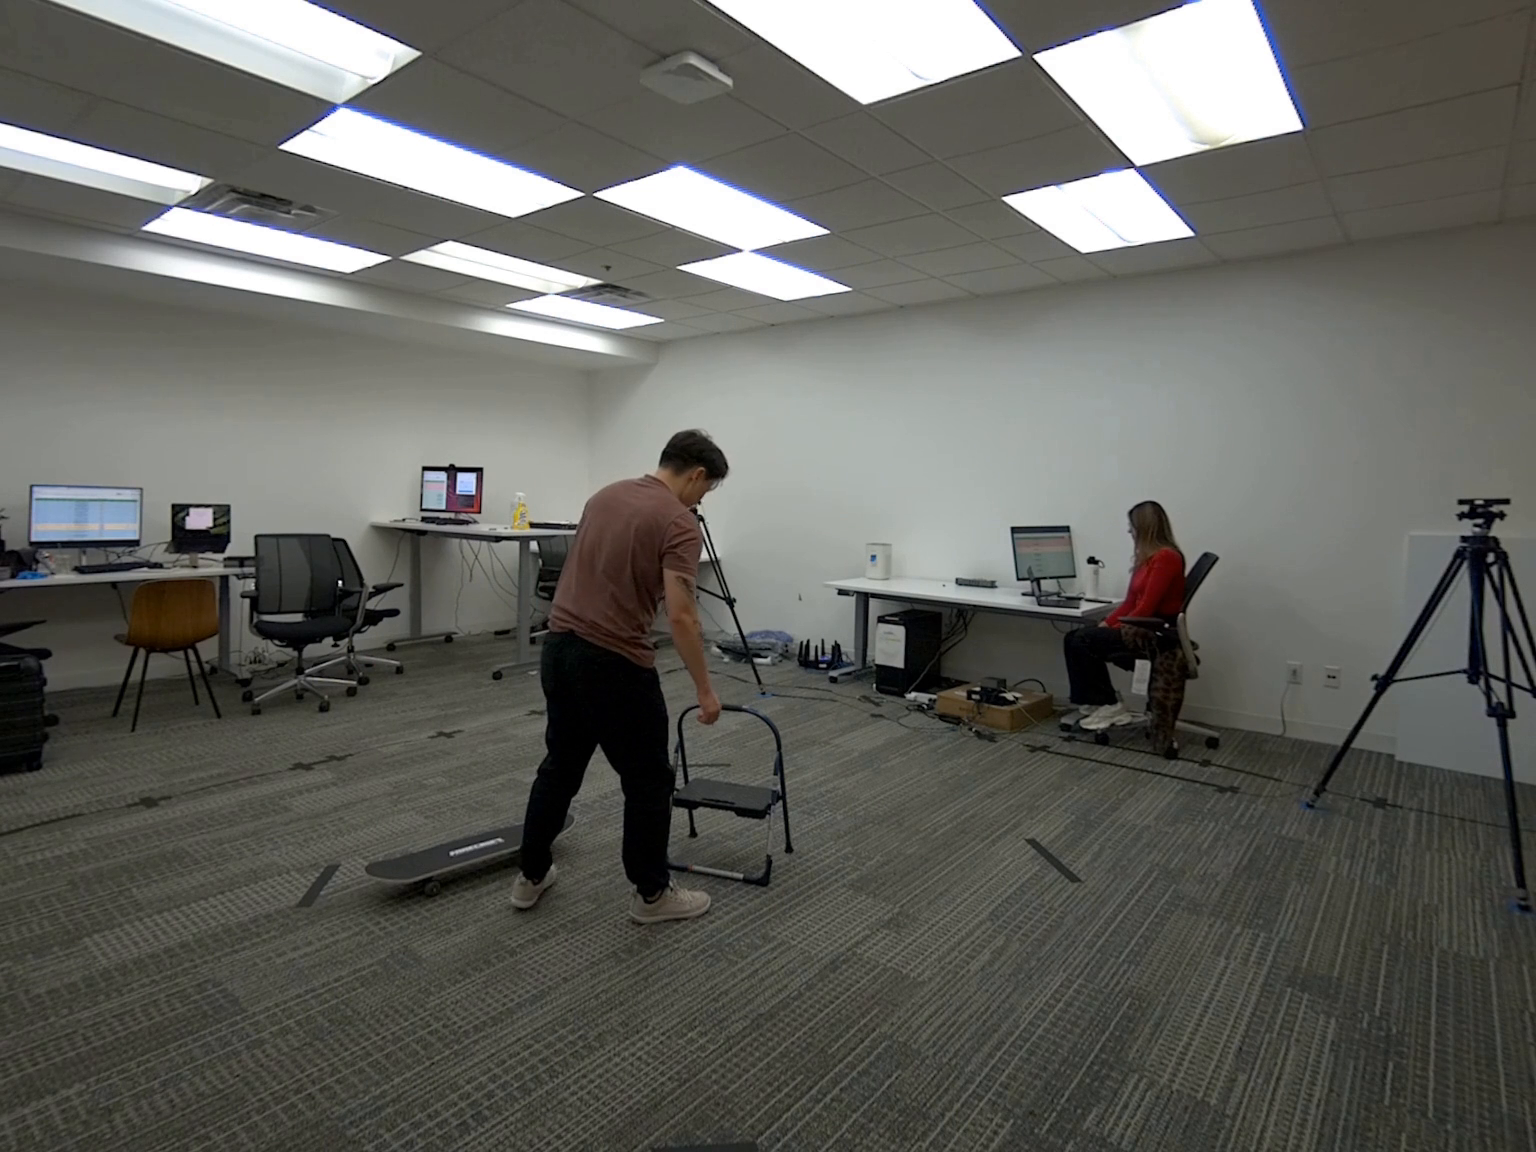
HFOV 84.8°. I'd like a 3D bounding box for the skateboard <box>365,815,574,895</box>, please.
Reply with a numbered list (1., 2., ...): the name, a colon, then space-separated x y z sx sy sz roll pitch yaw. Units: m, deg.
1. skateboard: -1.060 1.009 3.071 0.762 0.110 0.200 -5 7 -42
